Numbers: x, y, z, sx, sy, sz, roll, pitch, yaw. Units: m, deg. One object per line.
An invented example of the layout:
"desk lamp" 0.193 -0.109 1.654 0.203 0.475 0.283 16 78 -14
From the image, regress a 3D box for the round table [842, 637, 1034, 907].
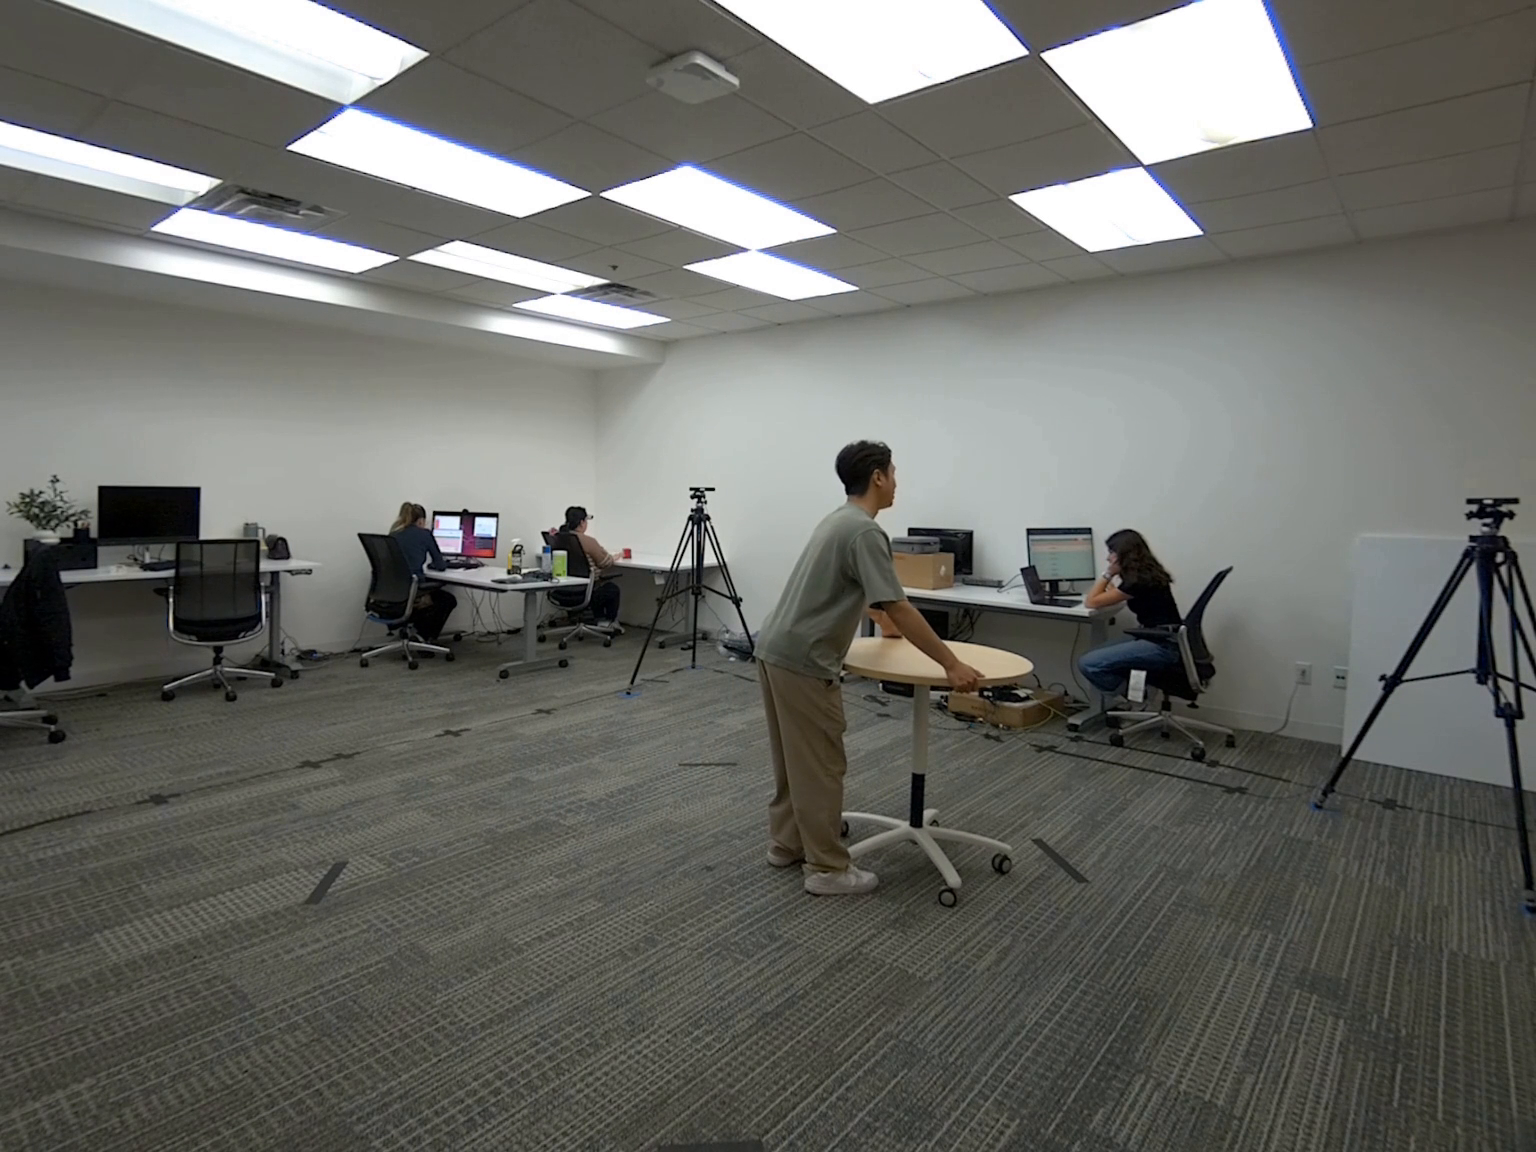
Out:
"round table" 0.556 0.686 3.169 0.784 0.784 0.789 2 4 -2
